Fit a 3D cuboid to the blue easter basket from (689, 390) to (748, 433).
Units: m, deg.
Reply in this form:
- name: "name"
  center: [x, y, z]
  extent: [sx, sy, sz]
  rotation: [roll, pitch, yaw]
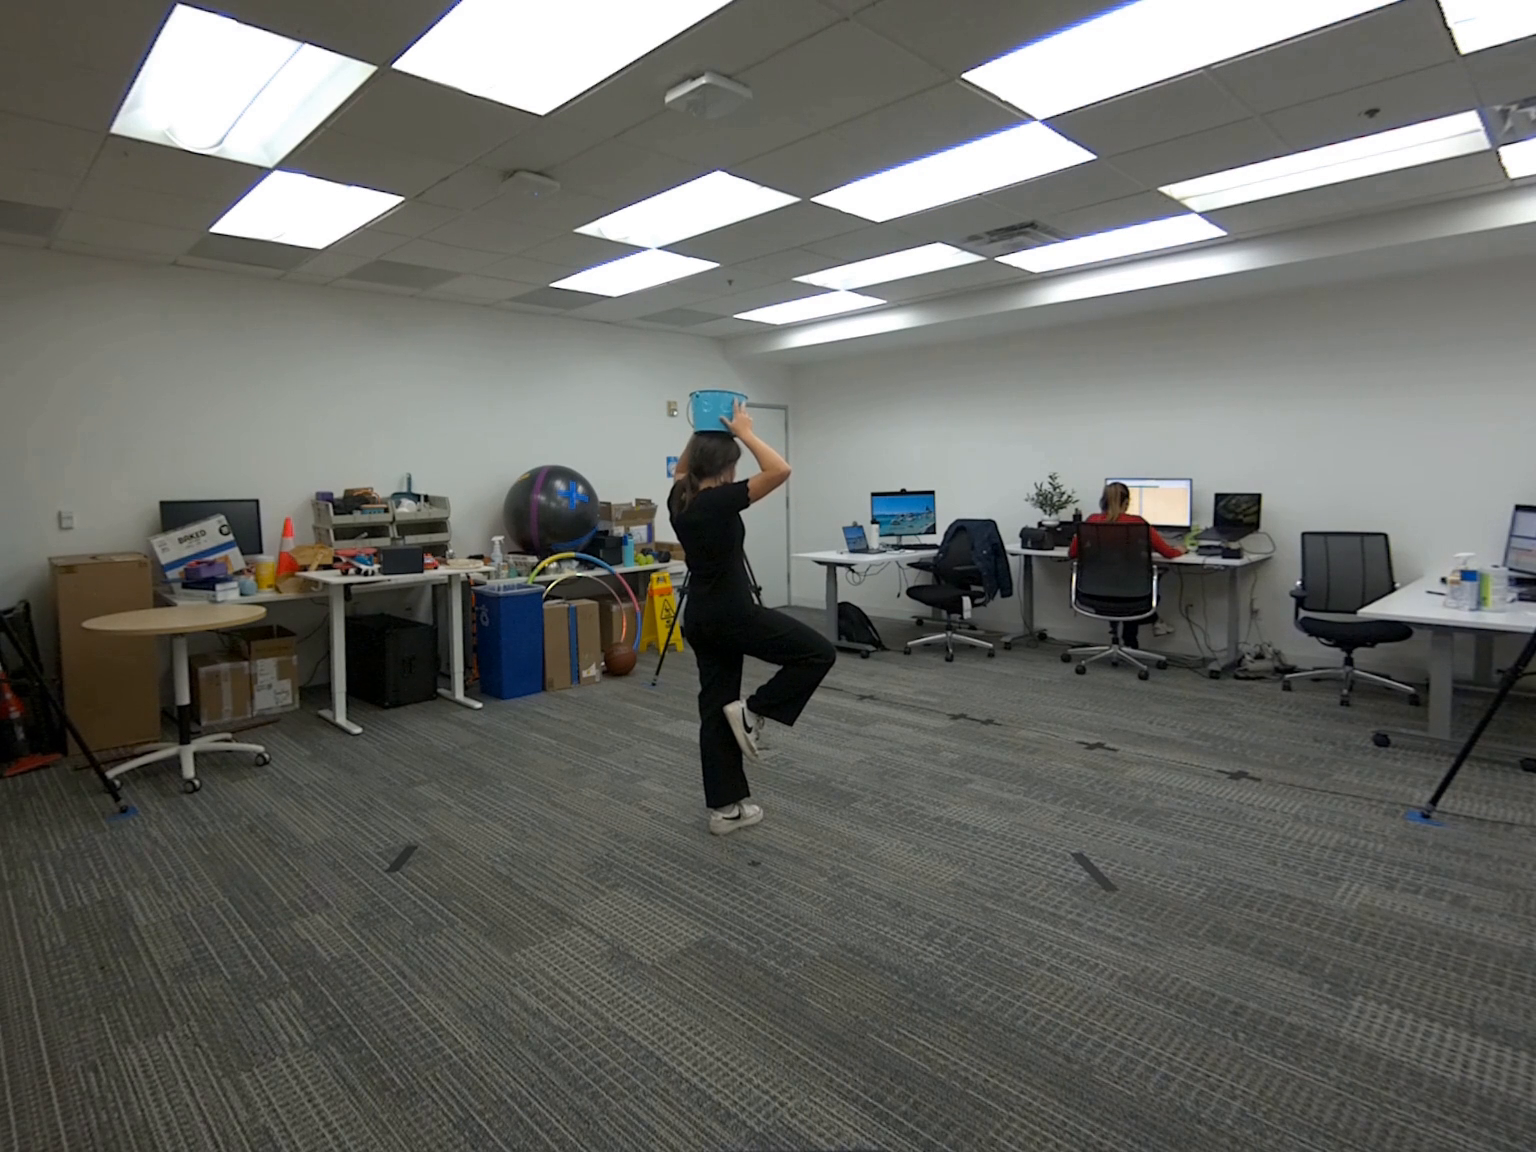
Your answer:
- name: "blue easter basket"
  center: [-0.198, -0.636, 3.373]
  extent: [0.243, 0.156, 0.243]
  rotation: [3, -1, -2]
